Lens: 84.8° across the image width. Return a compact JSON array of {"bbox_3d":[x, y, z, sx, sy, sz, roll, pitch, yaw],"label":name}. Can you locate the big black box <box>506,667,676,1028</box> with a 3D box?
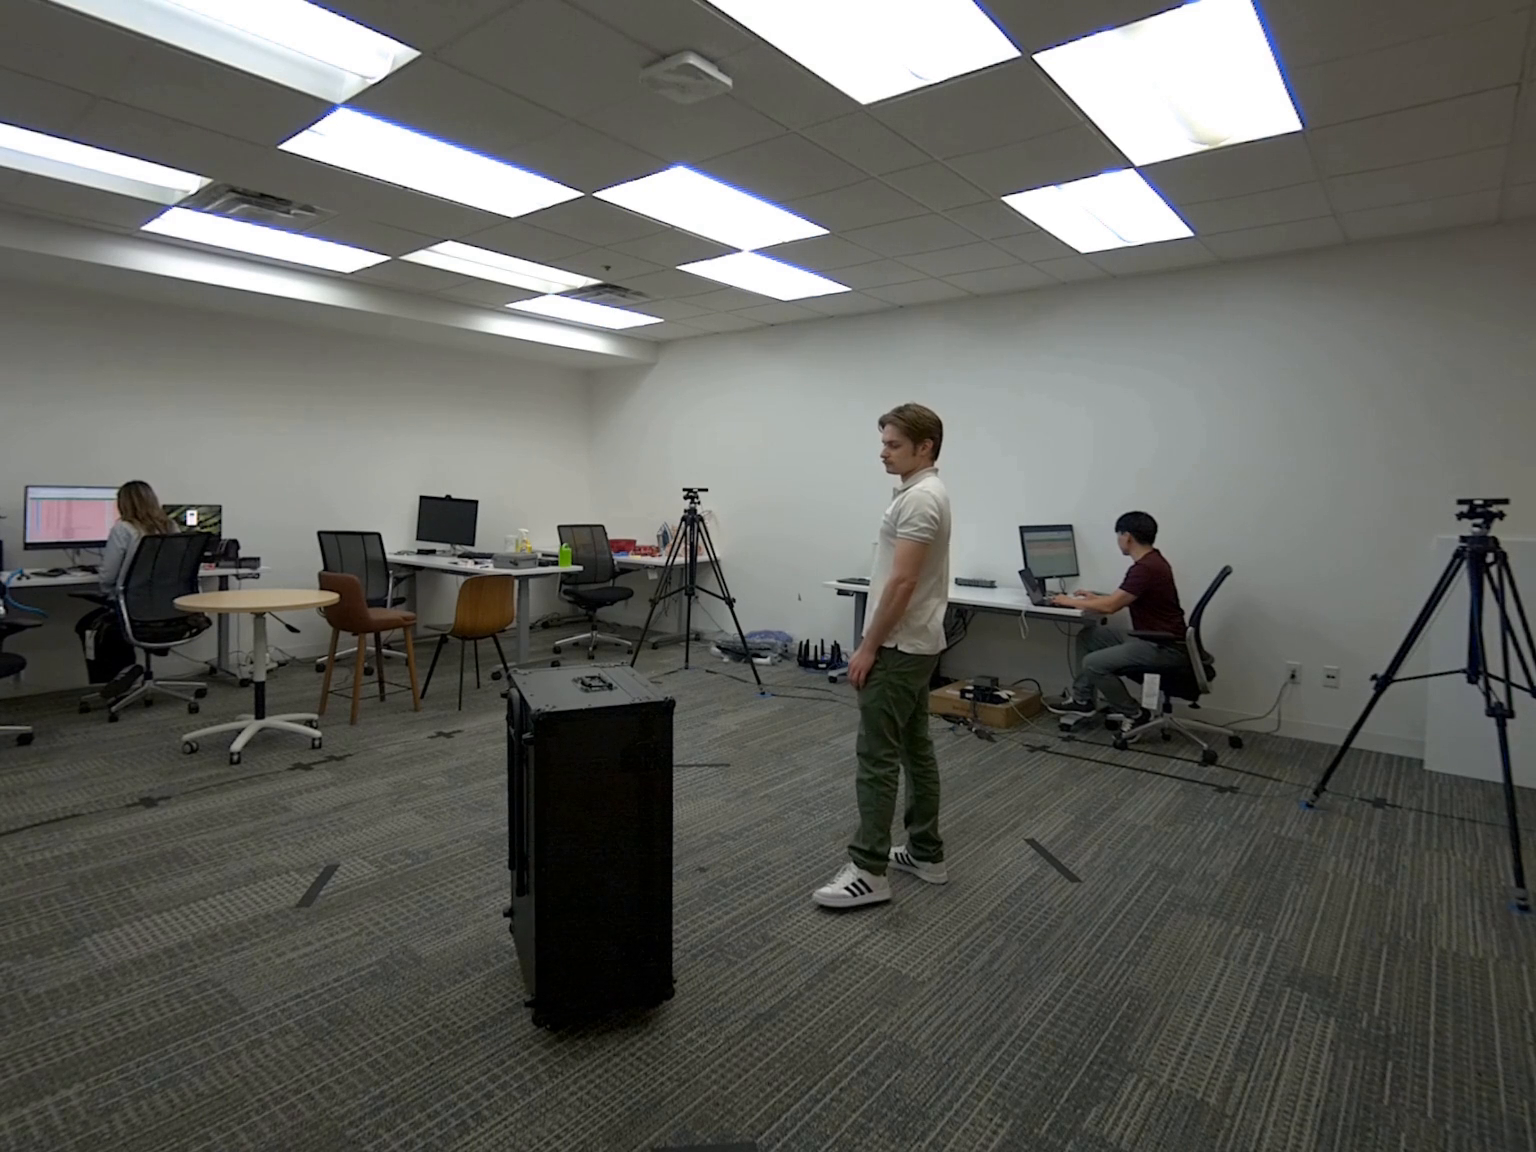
[{"bbox_3d":[-0.511,0.722,2.328,0.377,0.865,0.536,-1,4,-23],"label":"big black box"}]
